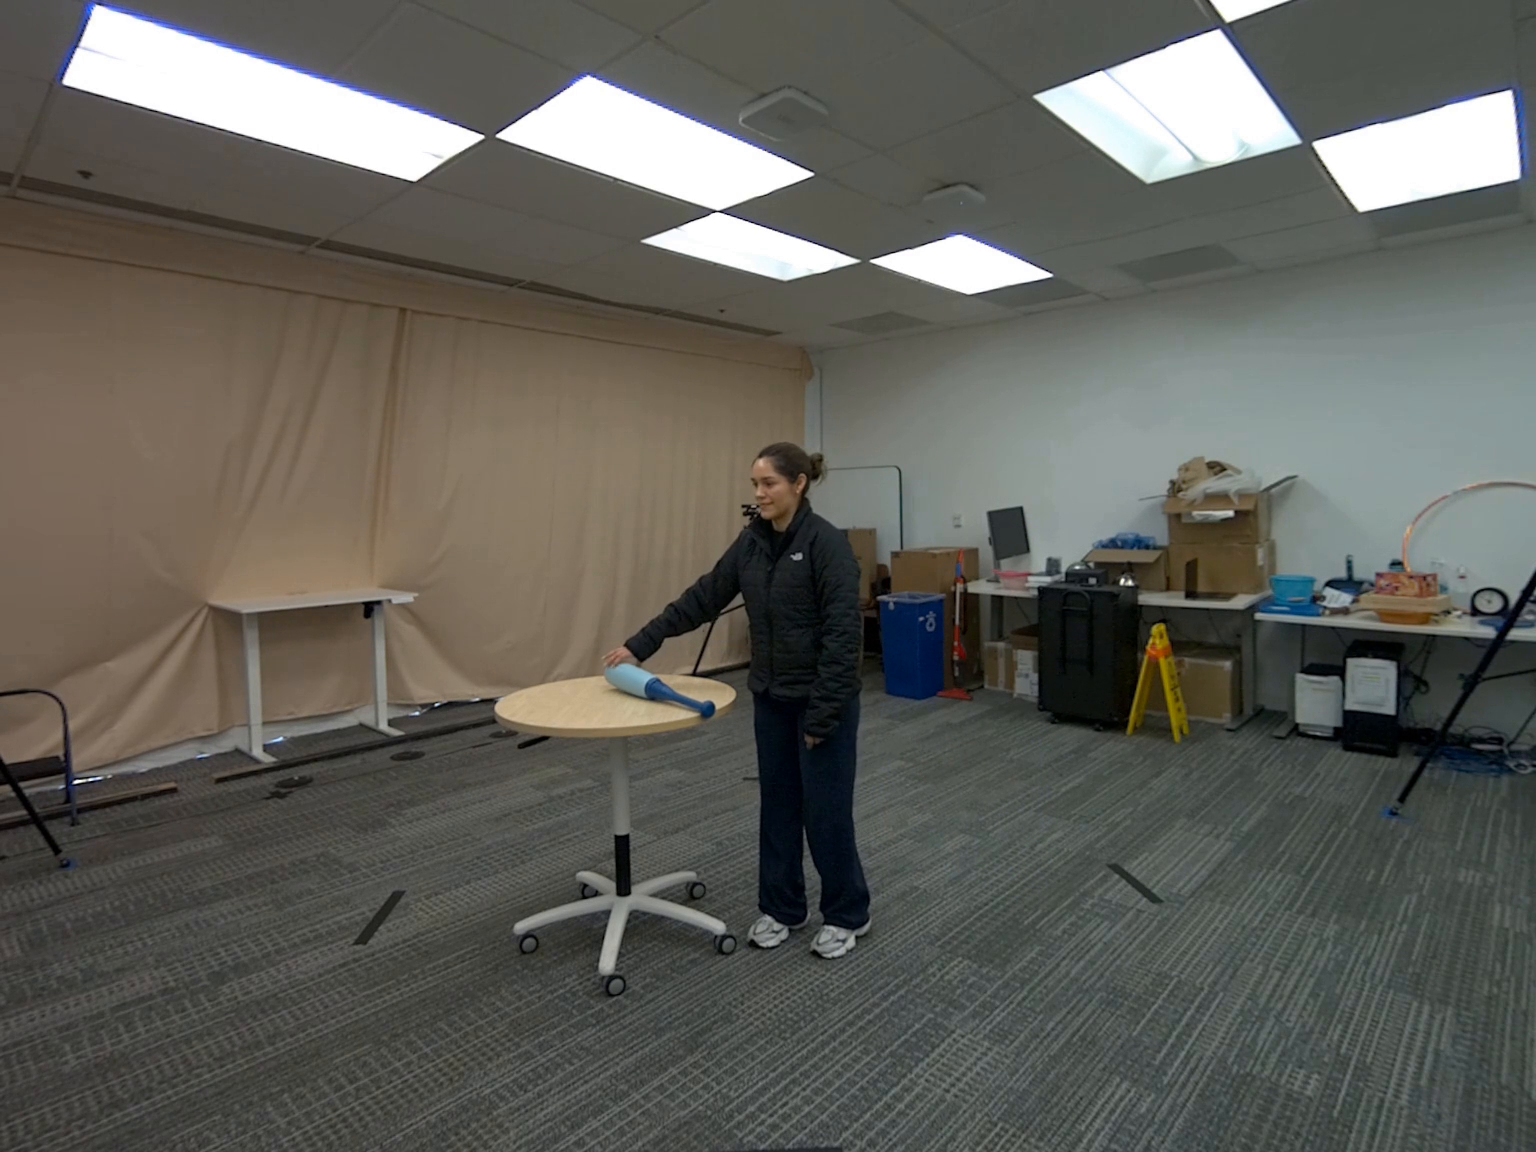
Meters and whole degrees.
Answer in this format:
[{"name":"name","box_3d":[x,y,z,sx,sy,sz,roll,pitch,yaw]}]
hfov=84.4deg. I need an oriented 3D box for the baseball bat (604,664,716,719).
[{"name":"baseball bat","box_3d":[-0.324,0.359,2.644,0.086,0.089,0.561,-4,8,-40]}]
